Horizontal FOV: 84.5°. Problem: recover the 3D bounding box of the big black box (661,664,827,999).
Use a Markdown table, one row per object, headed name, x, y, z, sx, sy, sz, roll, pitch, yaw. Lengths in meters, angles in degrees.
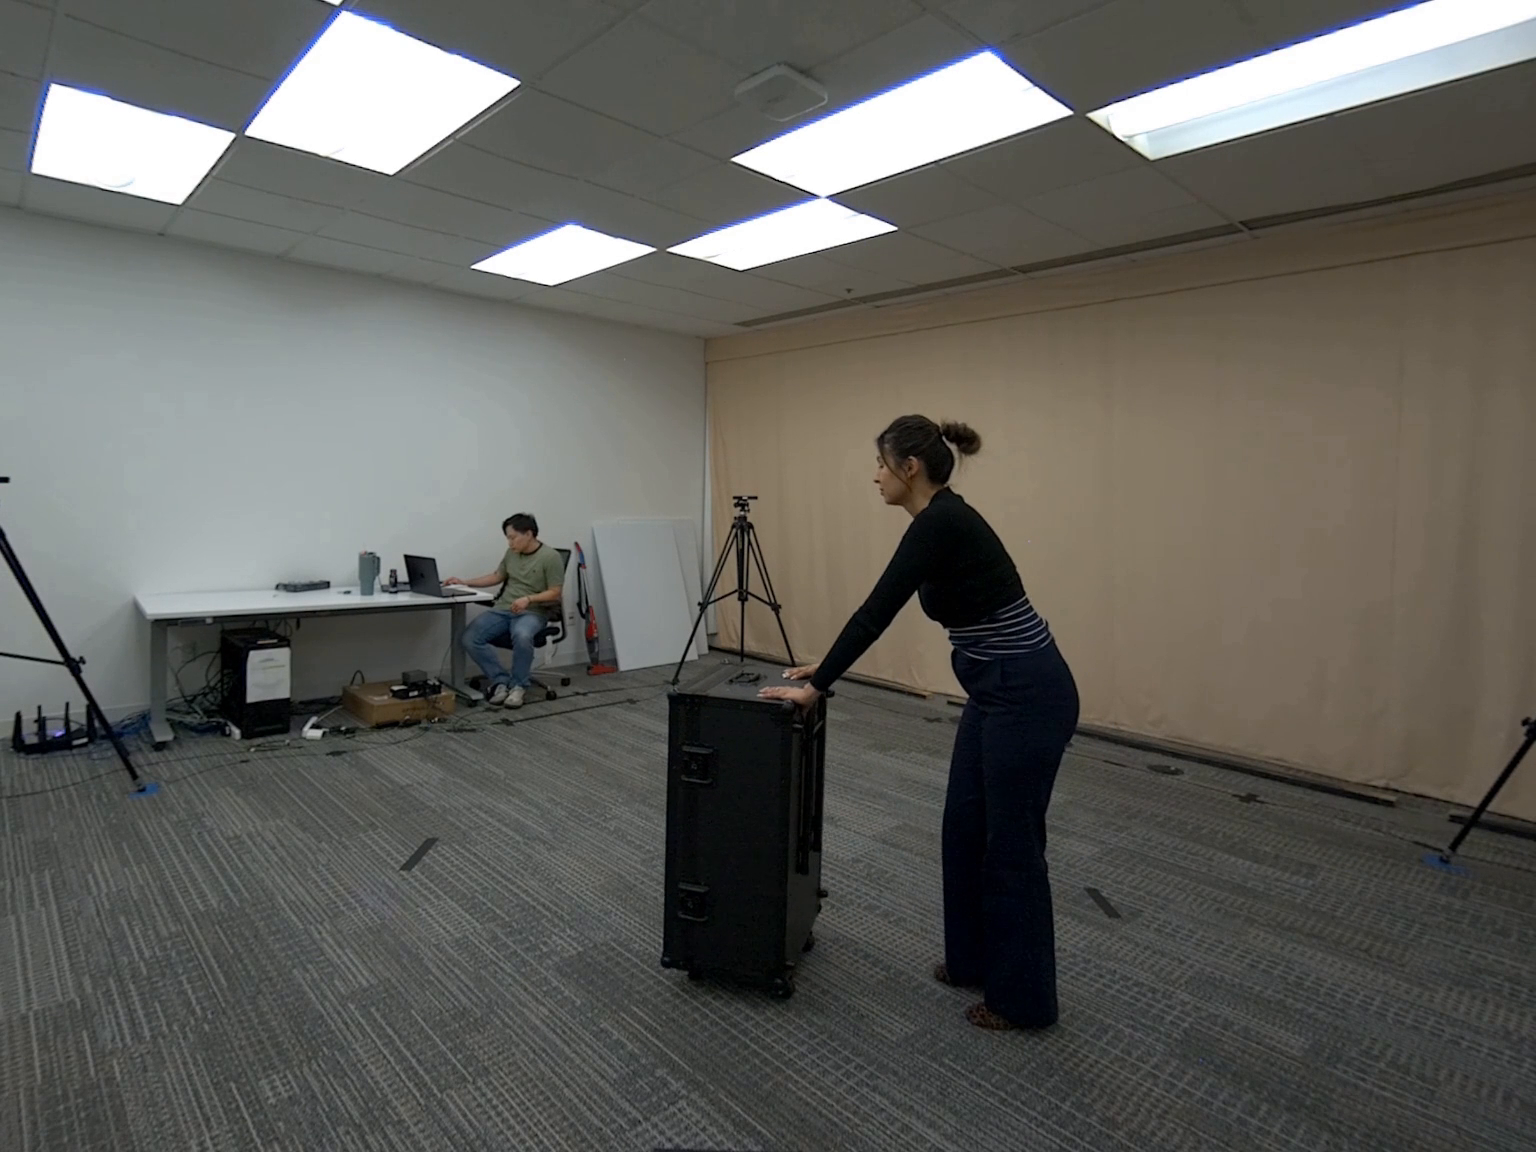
| name | x | y | z | sx | sy | sz | roll | pitch | yaw |
| --- | --- | --- | --- | --- | --- | --- | --- | --- | --- |
| big black box | -0.049 | 0.734 | 2.511 | 0.402 | 0.859 | 0.515 | 4 | 4 | 17 |
